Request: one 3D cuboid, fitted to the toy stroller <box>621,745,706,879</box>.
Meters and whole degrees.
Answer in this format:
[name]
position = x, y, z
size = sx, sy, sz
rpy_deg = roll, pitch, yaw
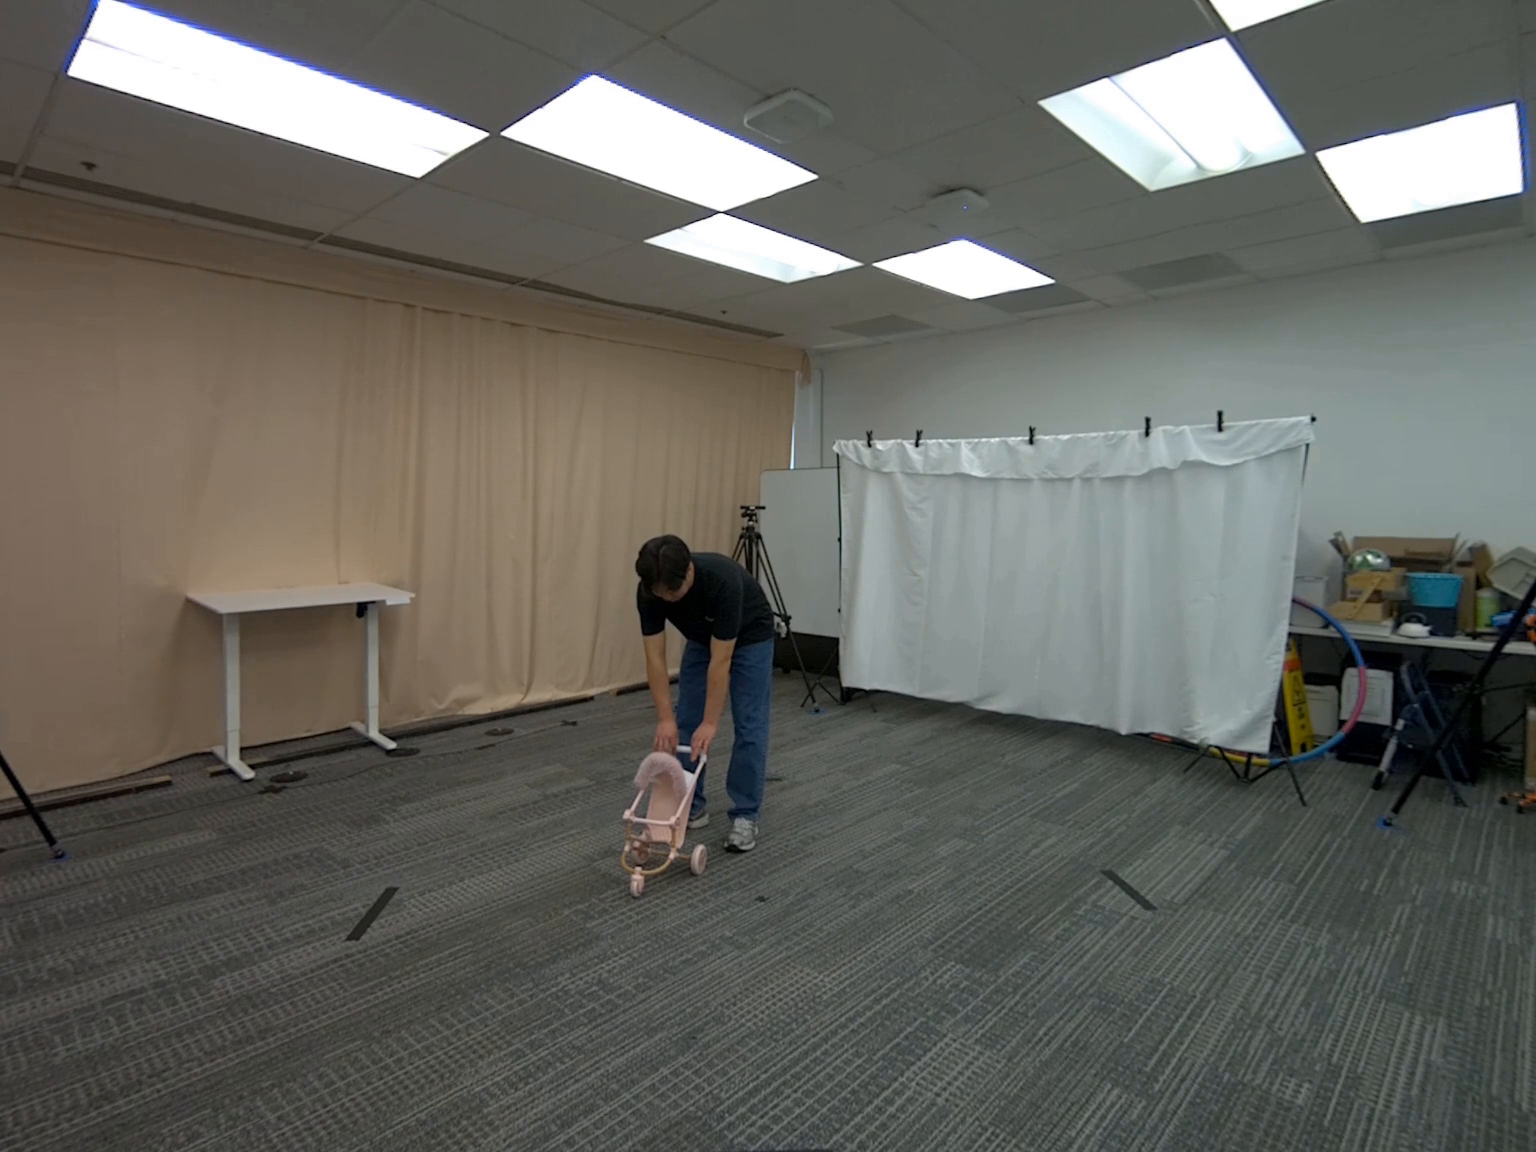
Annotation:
[toy stroller]
position = -0.406, 0.904, 3.172
size = 0.289, 0.538, 0.330
rpy_deg = 0, -13, 26
